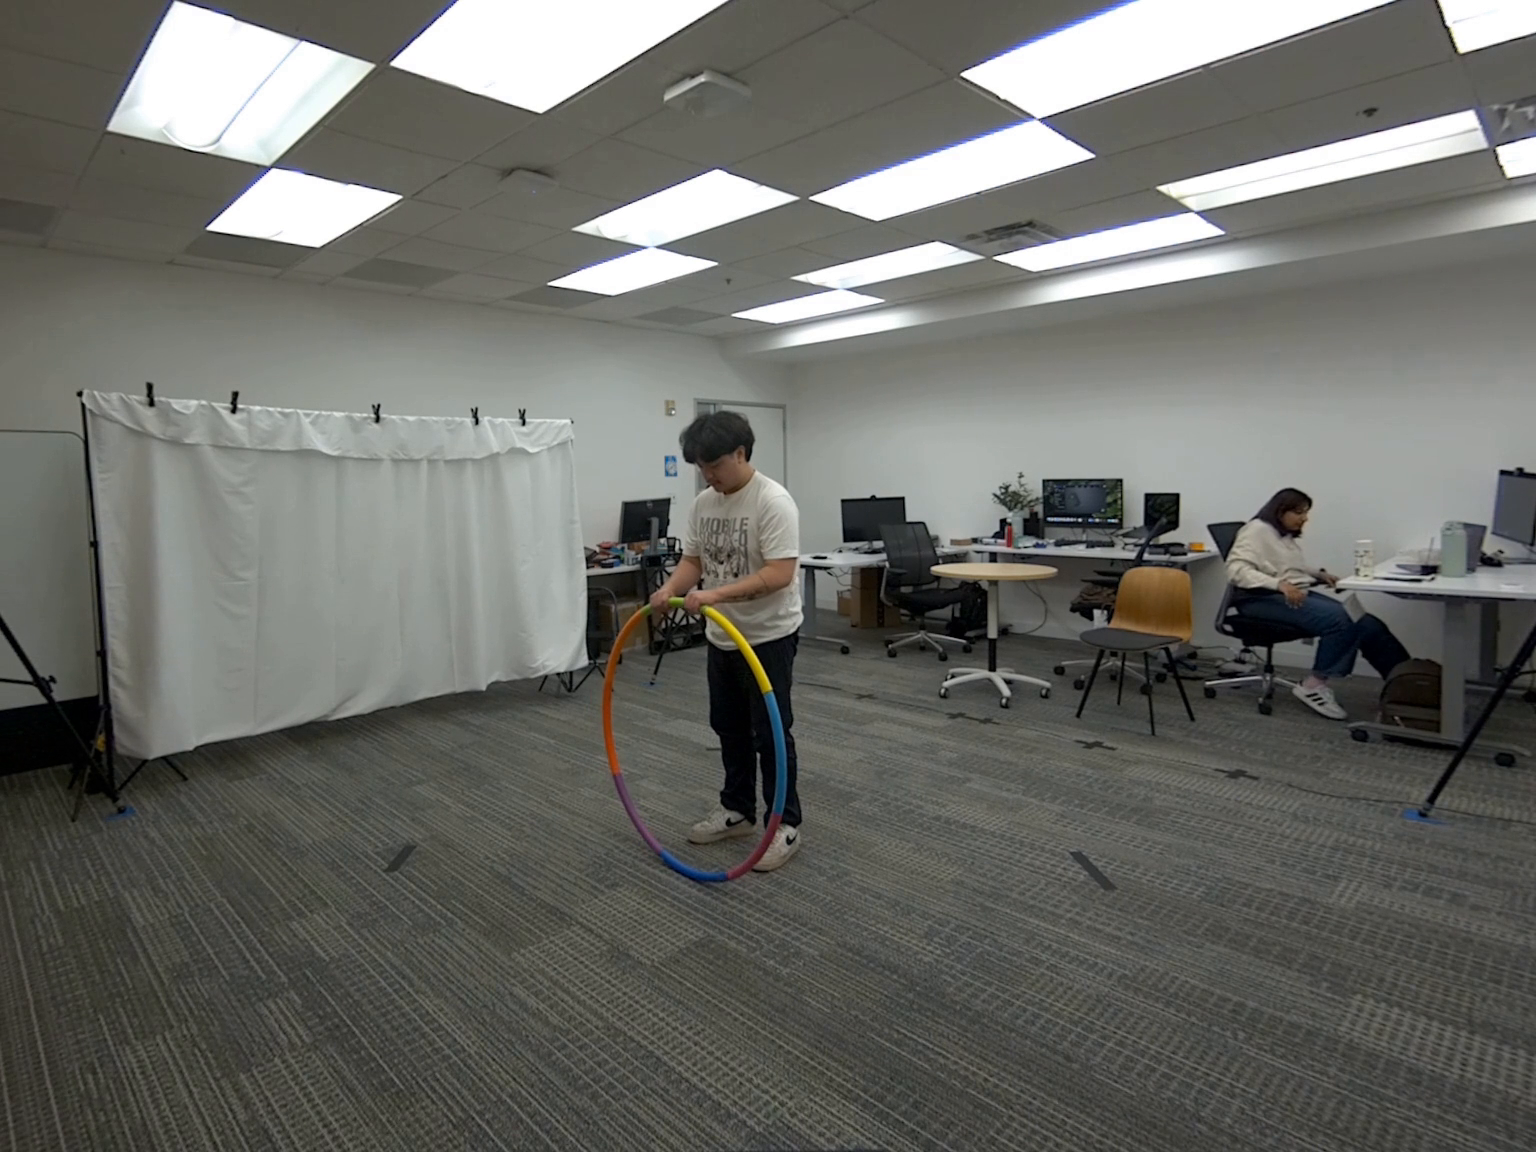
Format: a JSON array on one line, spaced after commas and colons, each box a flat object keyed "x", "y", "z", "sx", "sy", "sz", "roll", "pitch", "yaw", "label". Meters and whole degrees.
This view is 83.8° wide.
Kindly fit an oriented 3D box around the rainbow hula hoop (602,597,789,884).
[{"x": -0.294, "y": 0.568, "z": 3.001, "sx": 0.050, "sy": 0.983, "sz": 1.016, "roll": -2, "pitch": 4, "yaw": -43, "label": "rainbow hula hoop"}]
